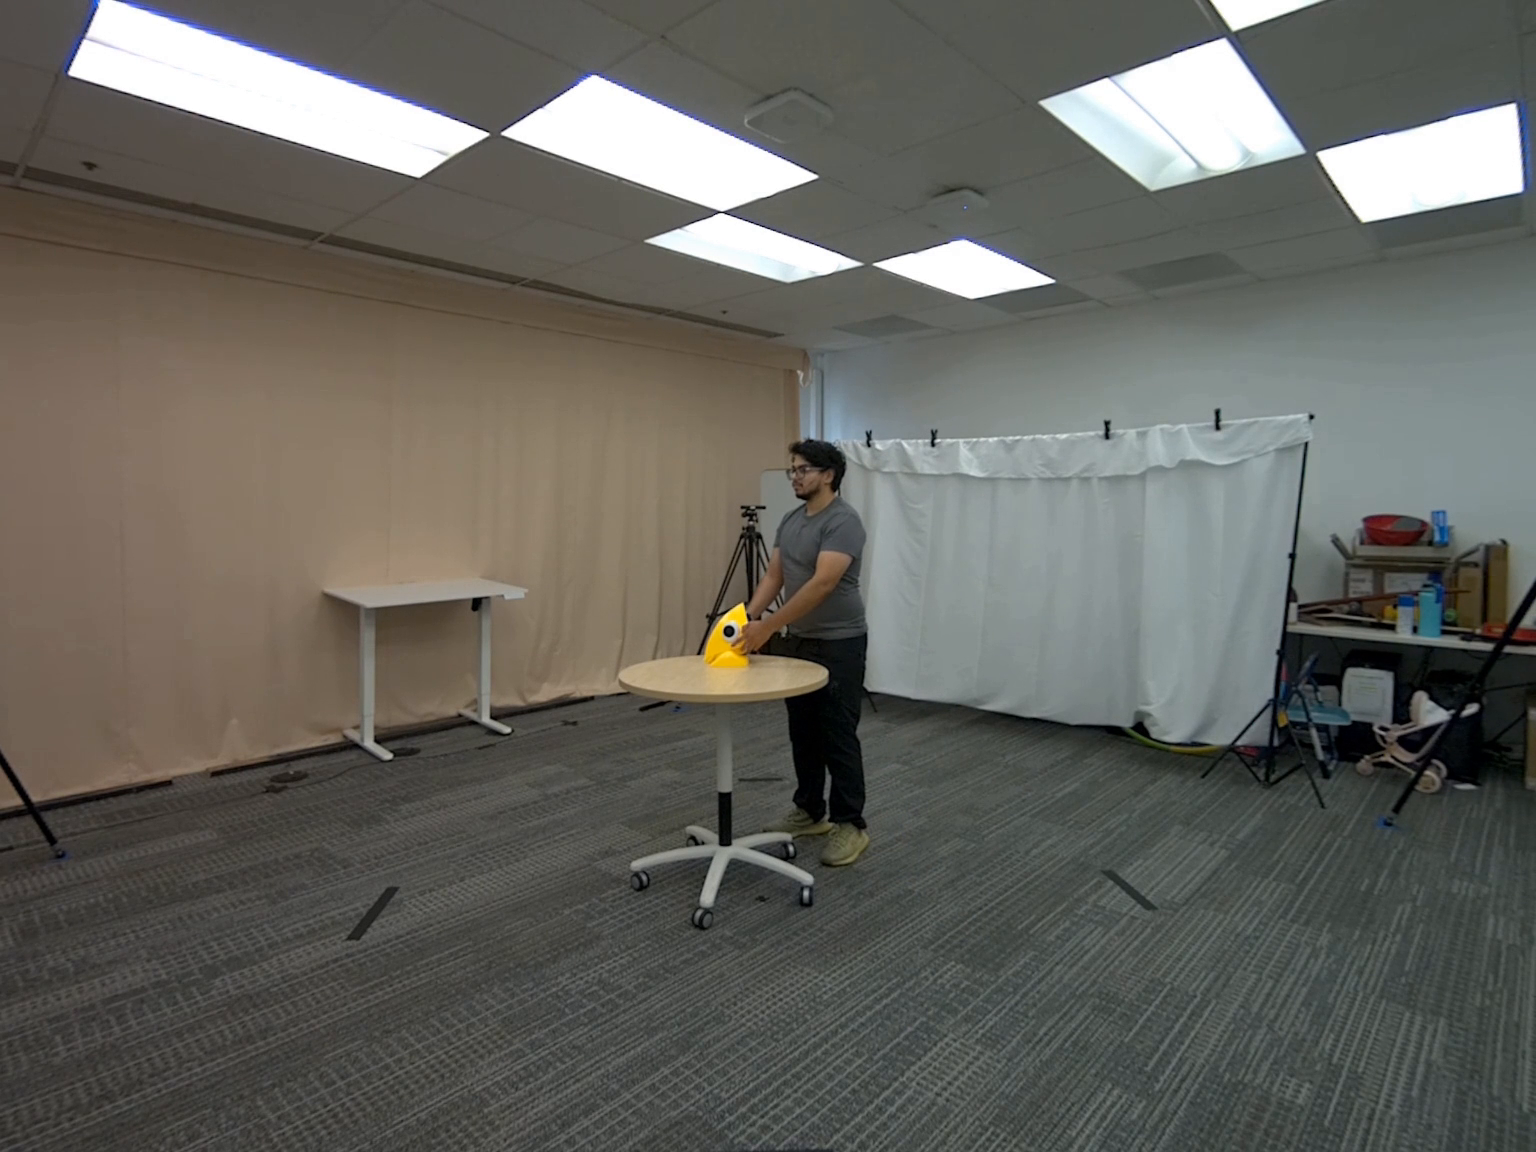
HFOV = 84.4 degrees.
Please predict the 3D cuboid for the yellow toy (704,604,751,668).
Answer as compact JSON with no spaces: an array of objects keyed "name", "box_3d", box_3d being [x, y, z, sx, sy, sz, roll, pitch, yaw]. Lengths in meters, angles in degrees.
[{"name":"yellow toy","box_3d":[-0.149,0.223,3.275,0.190,0.230,0.208,0,3,-13]}]
